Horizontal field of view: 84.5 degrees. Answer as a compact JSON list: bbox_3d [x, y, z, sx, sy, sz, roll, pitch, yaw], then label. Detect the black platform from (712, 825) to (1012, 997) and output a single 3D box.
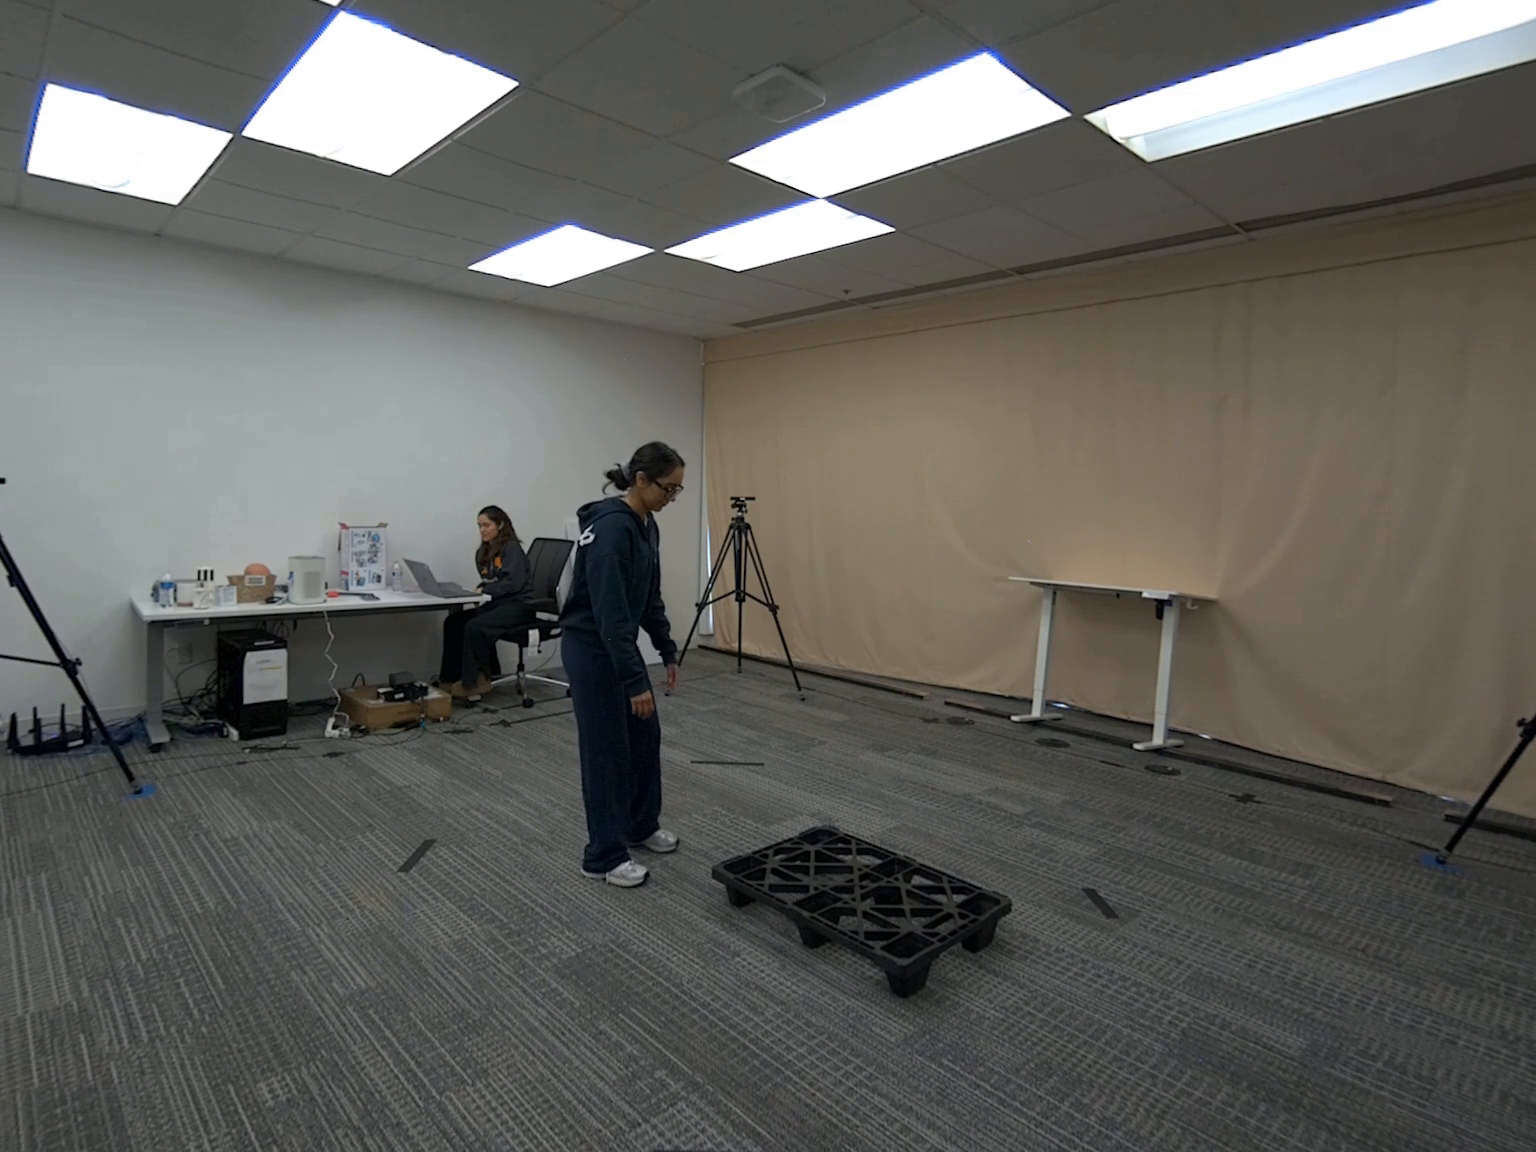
[{"bbox_3d":[0.285,1.079,2.791,0.591,0.143,0.827,-3,7,-44],"label":"black platform"}]
